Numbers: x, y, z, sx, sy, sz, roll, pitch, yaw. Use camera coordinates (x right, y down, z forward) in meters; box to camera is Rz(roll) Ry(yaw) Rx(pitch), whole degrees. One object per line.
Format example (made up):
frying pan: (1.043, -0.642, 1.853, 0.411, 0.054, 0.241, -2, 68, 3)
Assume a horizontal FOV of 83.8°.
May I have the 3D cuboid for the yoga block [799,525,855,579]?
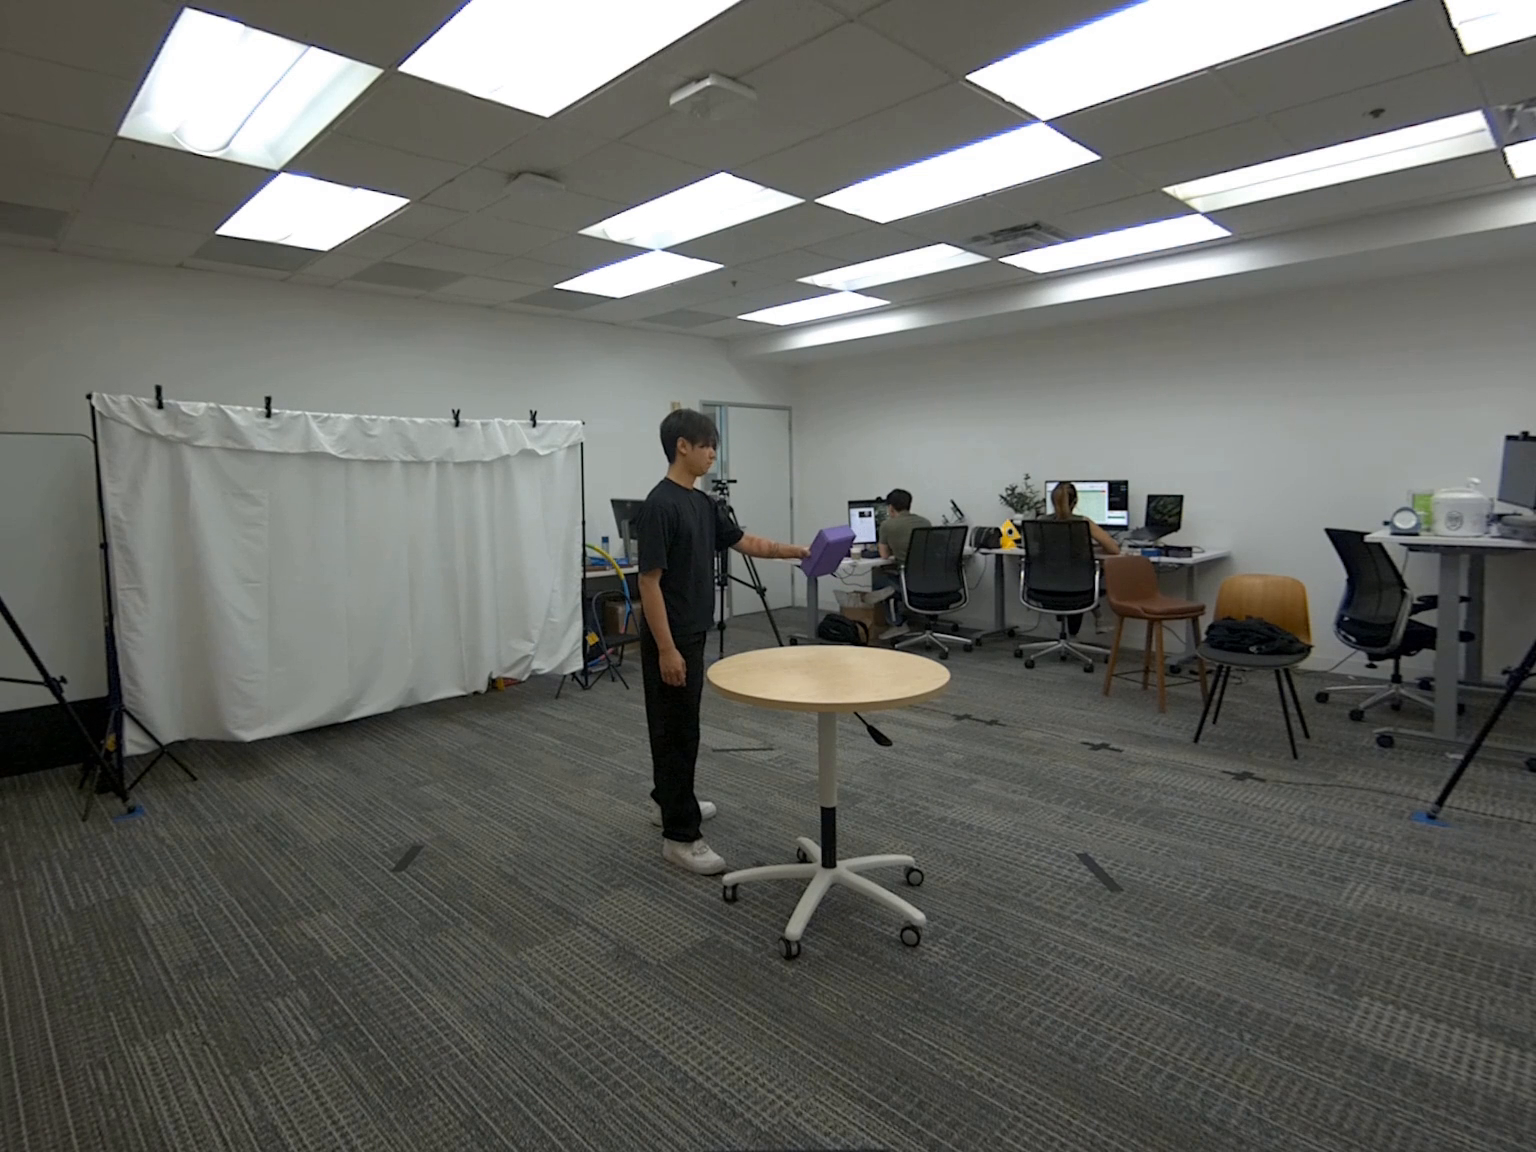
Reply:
yoga block: (0.232, -0.095, 3.371, 0.146, 0.079, 0.226, -12, -35, -34)
